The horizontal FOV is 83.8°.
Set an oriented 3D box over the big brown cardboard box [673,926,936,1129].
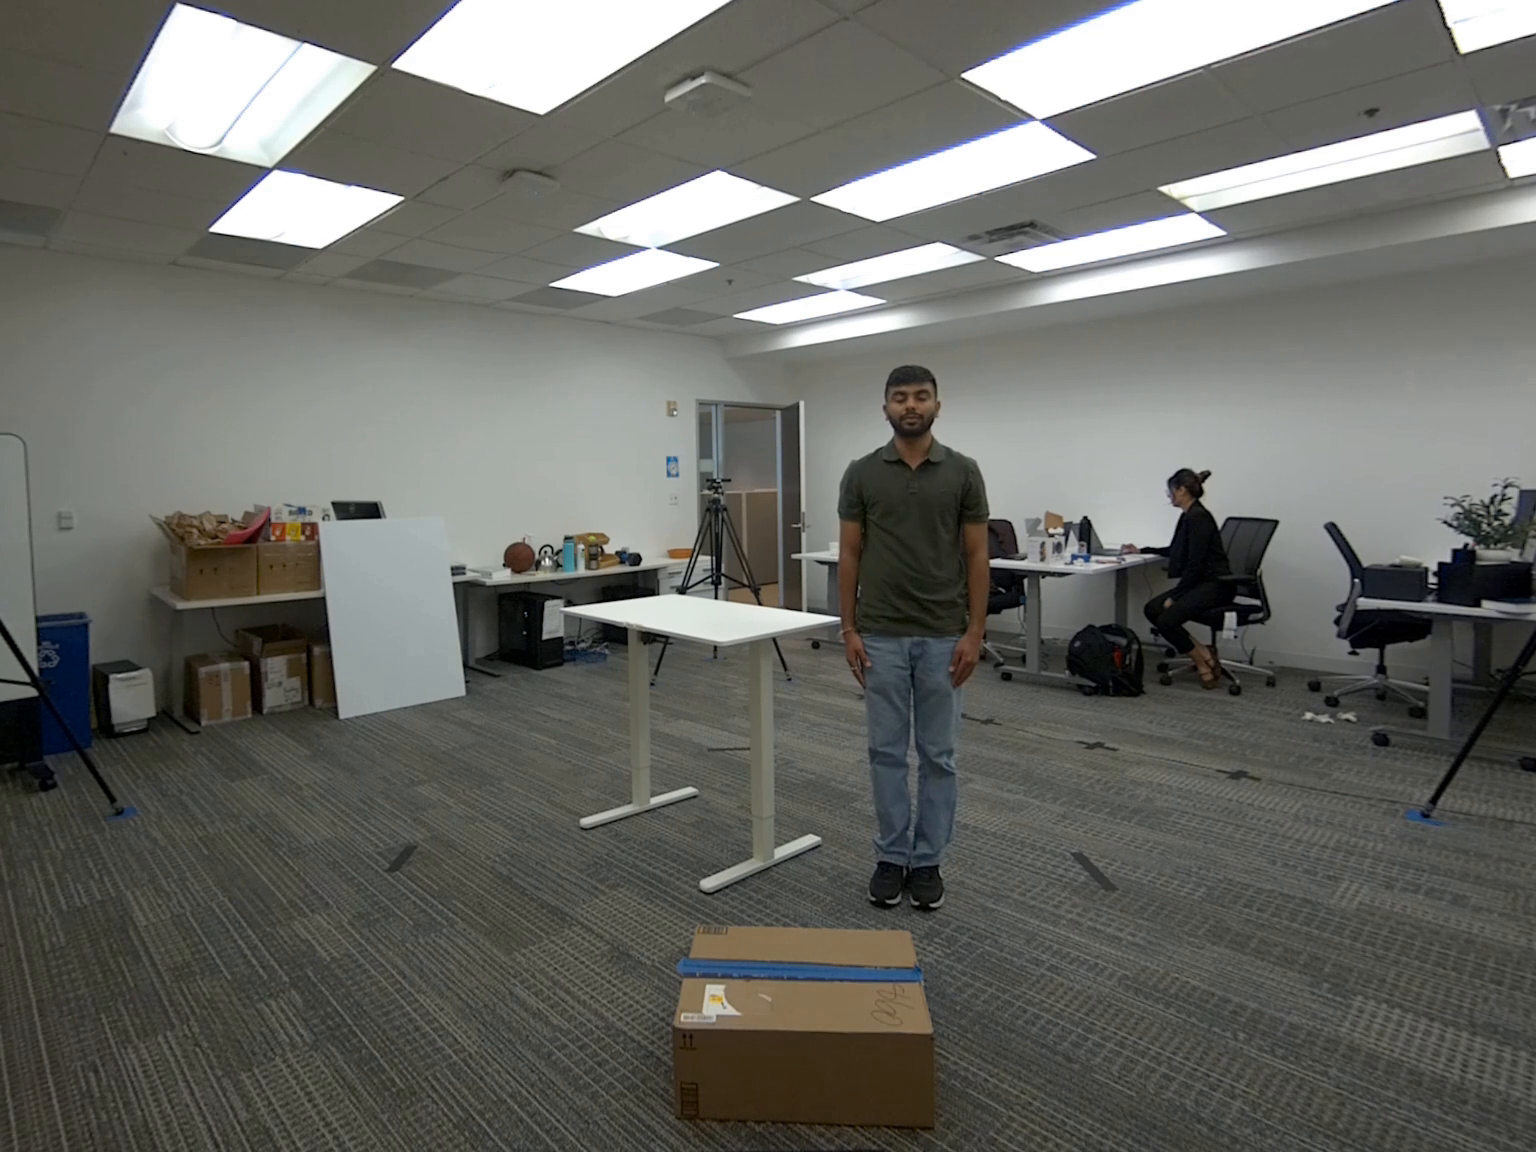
[{"bbox_3d":[0.079,1.047,2.057,0.591,0.232,0.418,0,7,3],"label":"big brown cardboard box"}]
